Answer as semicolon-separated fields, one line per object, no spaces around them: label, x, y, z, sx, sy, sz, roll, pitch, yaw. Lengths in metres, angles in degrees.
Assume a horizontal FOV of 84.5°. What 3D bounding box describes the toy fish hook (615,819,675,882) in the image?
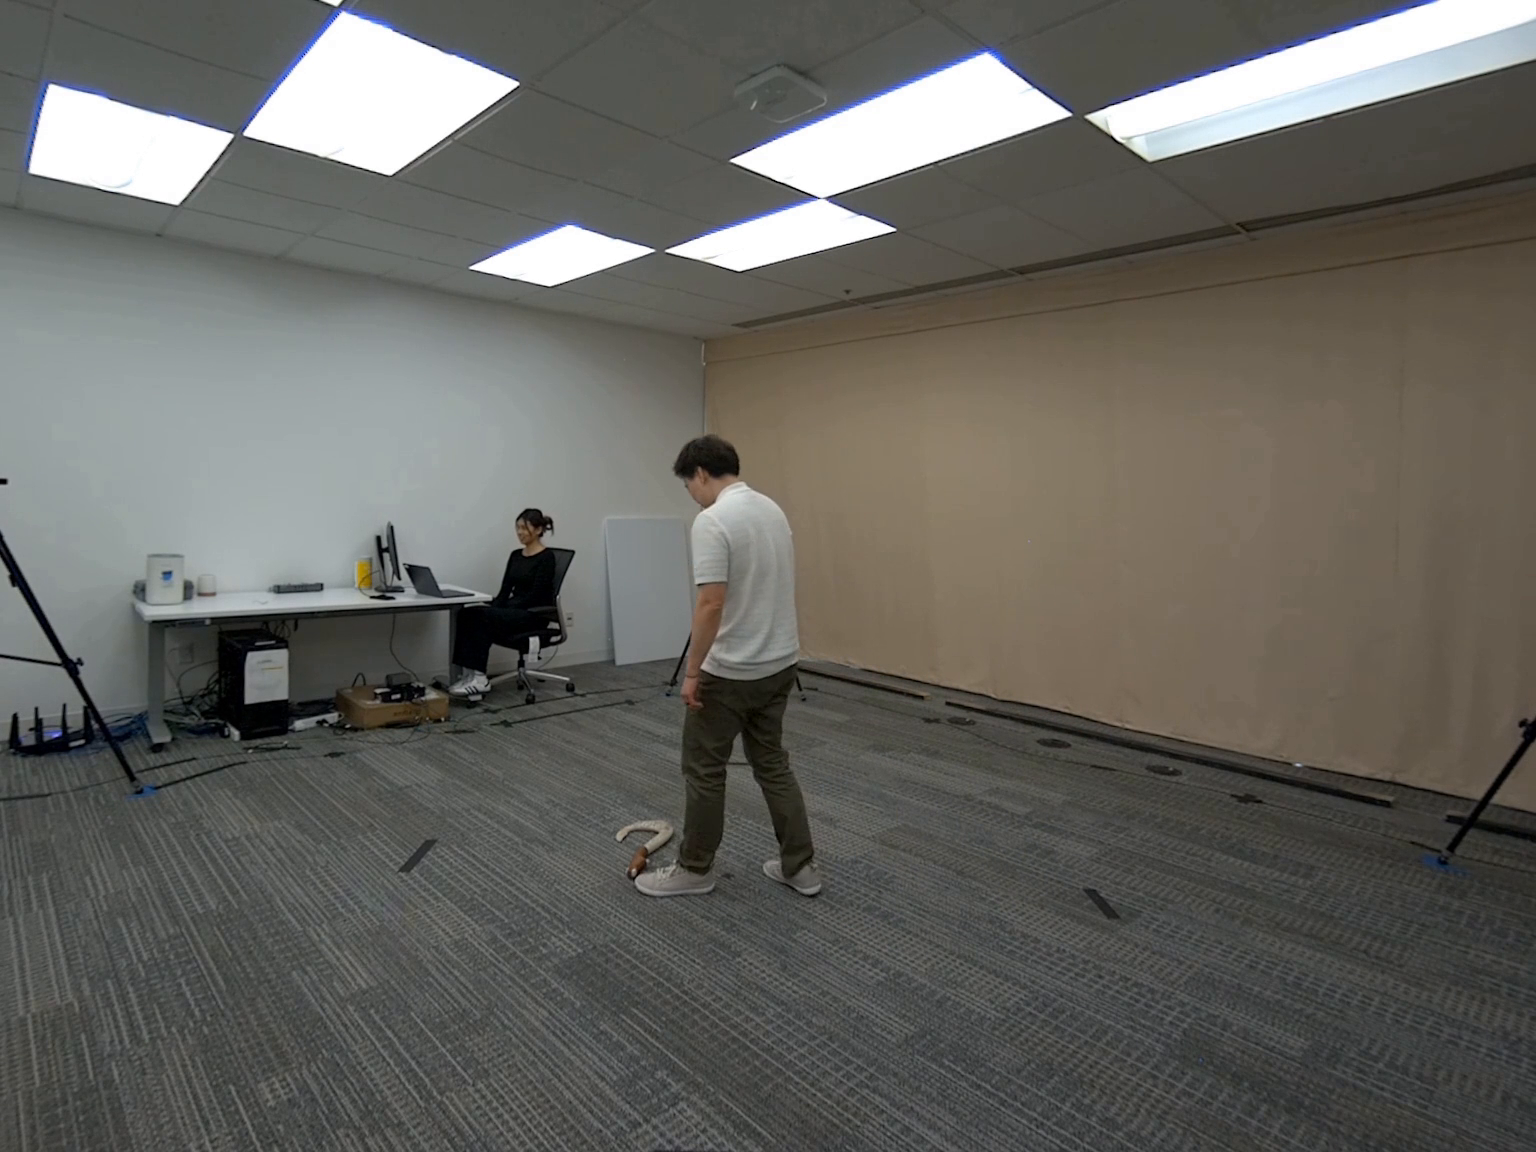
toy fish hook;-0.525;1.063;3.301;0.226;0.048;0.504;-6;3;8
